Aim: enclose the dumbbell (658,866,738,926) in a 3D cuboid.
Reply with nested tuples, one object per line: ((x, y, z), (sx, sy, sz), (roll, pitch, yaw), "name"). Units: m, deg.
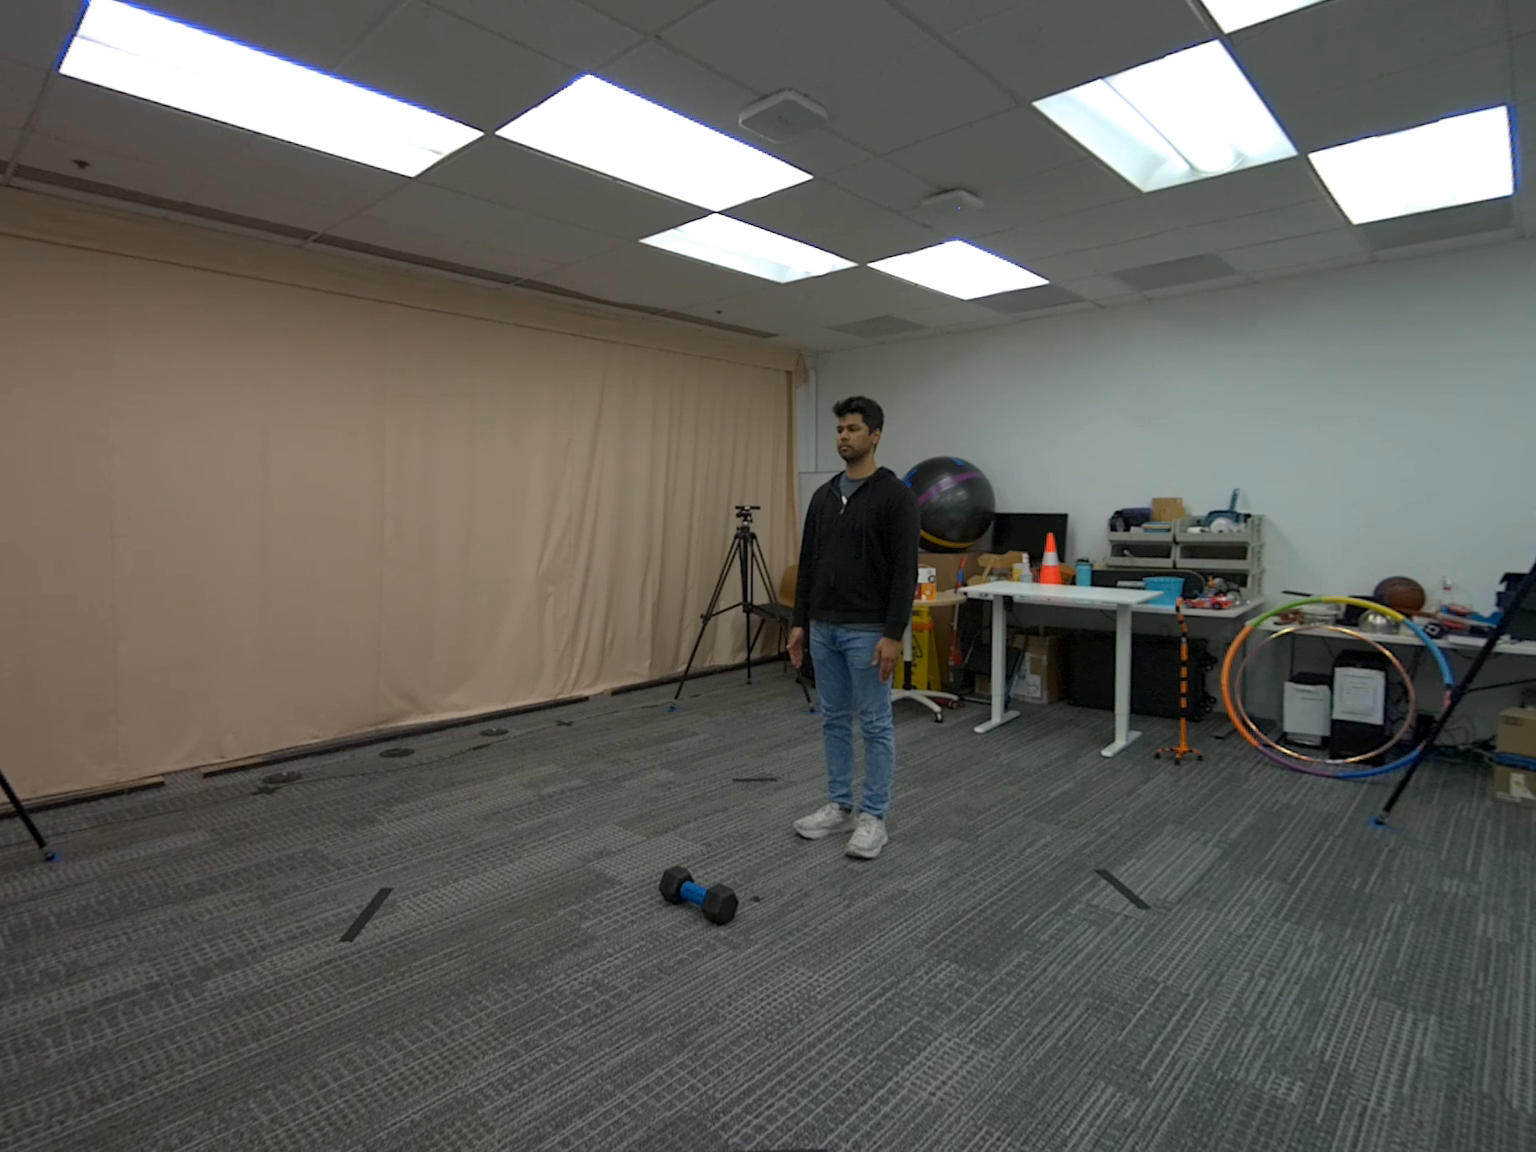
((-0.236, 1.097, 2.898), (0.303, 0.123, 0.105), (5, -25, 41), "dumbbell")
